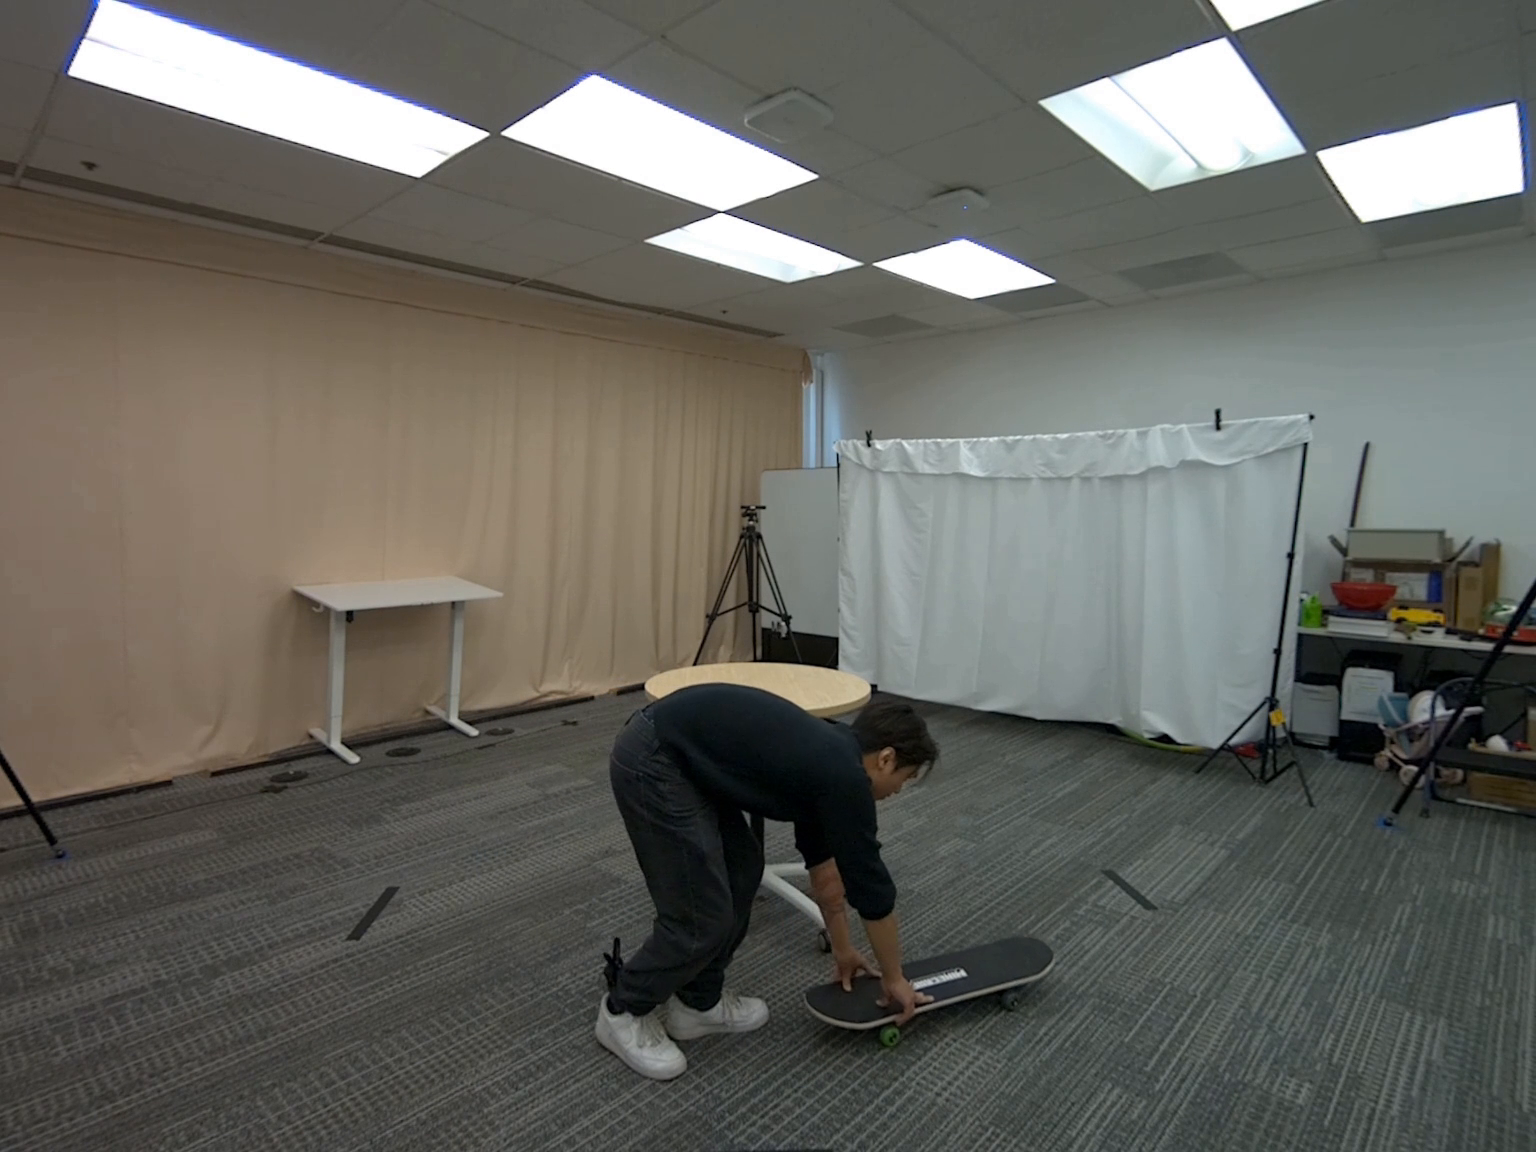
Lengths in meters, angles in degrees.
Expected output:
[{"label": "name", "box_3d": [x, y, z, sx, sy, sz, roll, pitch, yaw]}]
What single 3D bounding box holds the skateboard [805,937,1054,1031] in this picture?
[{"label": "skateboard", "box_3d": [0.466, 1.143, 2.317, 0.768, 0.110, 0.198, -2, 4, -22]}]
